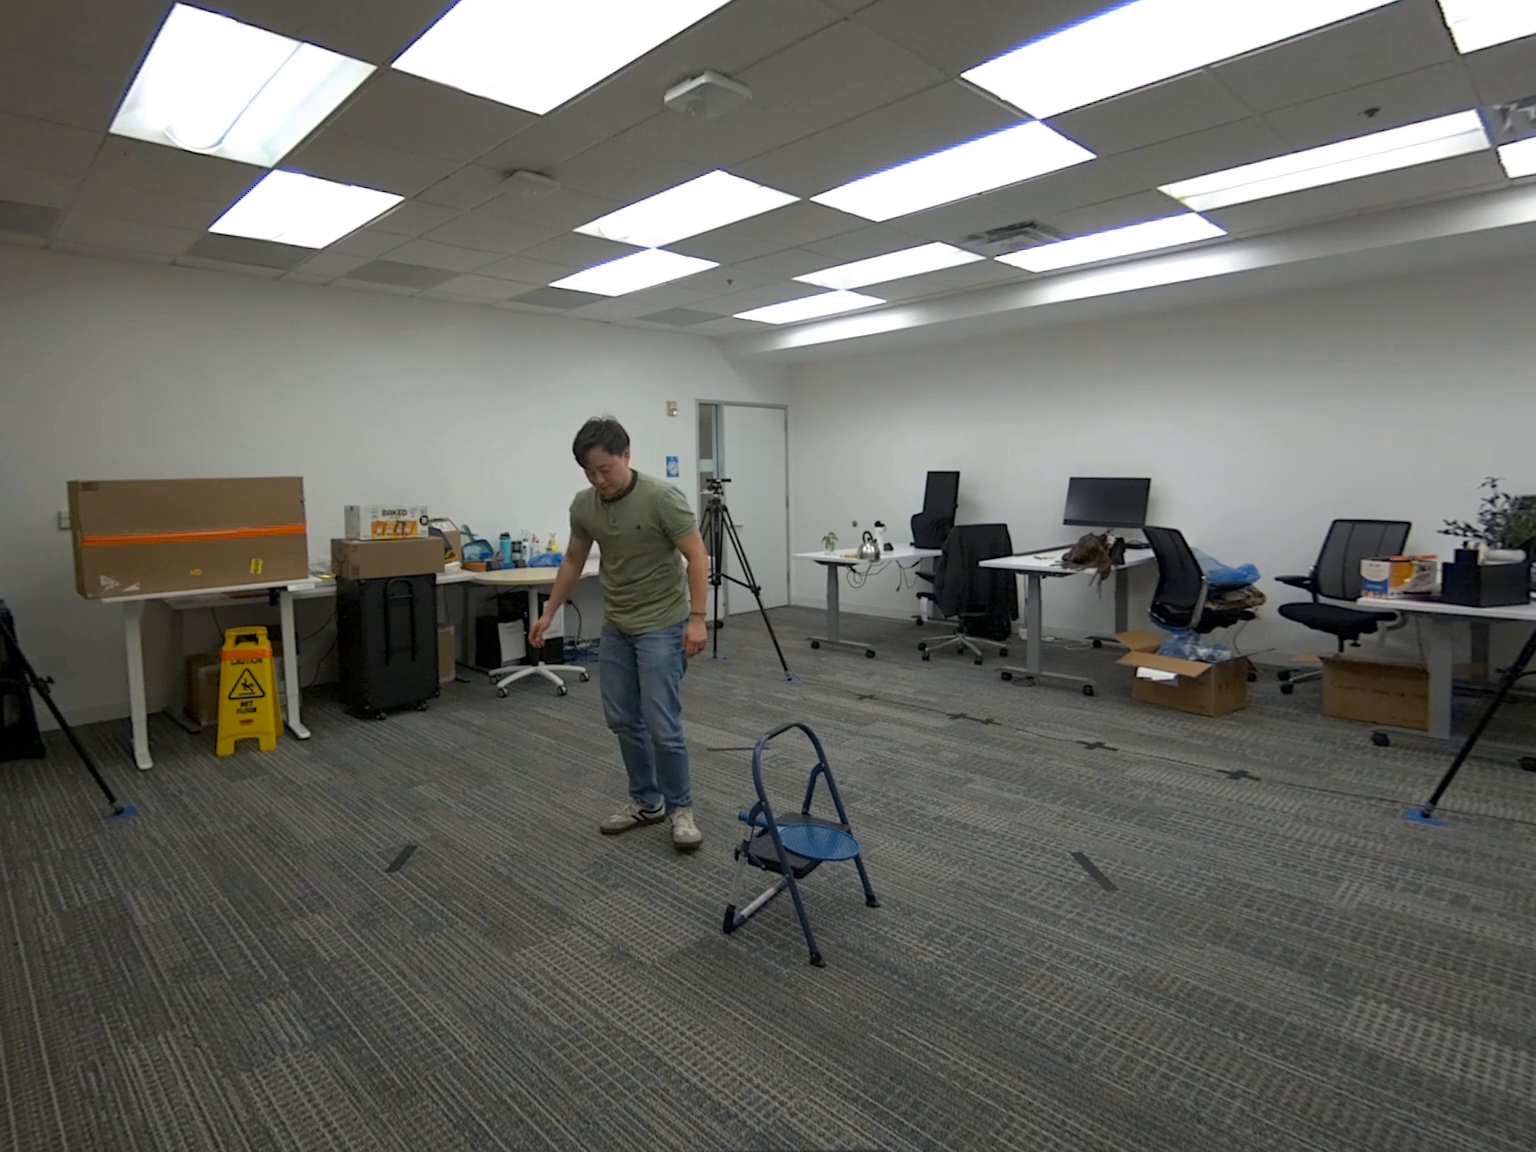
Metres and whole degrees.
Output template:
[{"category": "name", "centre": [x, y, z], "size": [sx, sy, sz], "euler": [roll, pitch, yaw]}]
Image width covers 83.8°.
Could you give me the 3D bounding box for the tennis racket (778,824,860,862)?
[{"category": "tennis racket", "centre": [0.099, 0.821, 2.696], "size": [0.446, 0.031, 0.209], "euler": [7, 11, 34]}]
